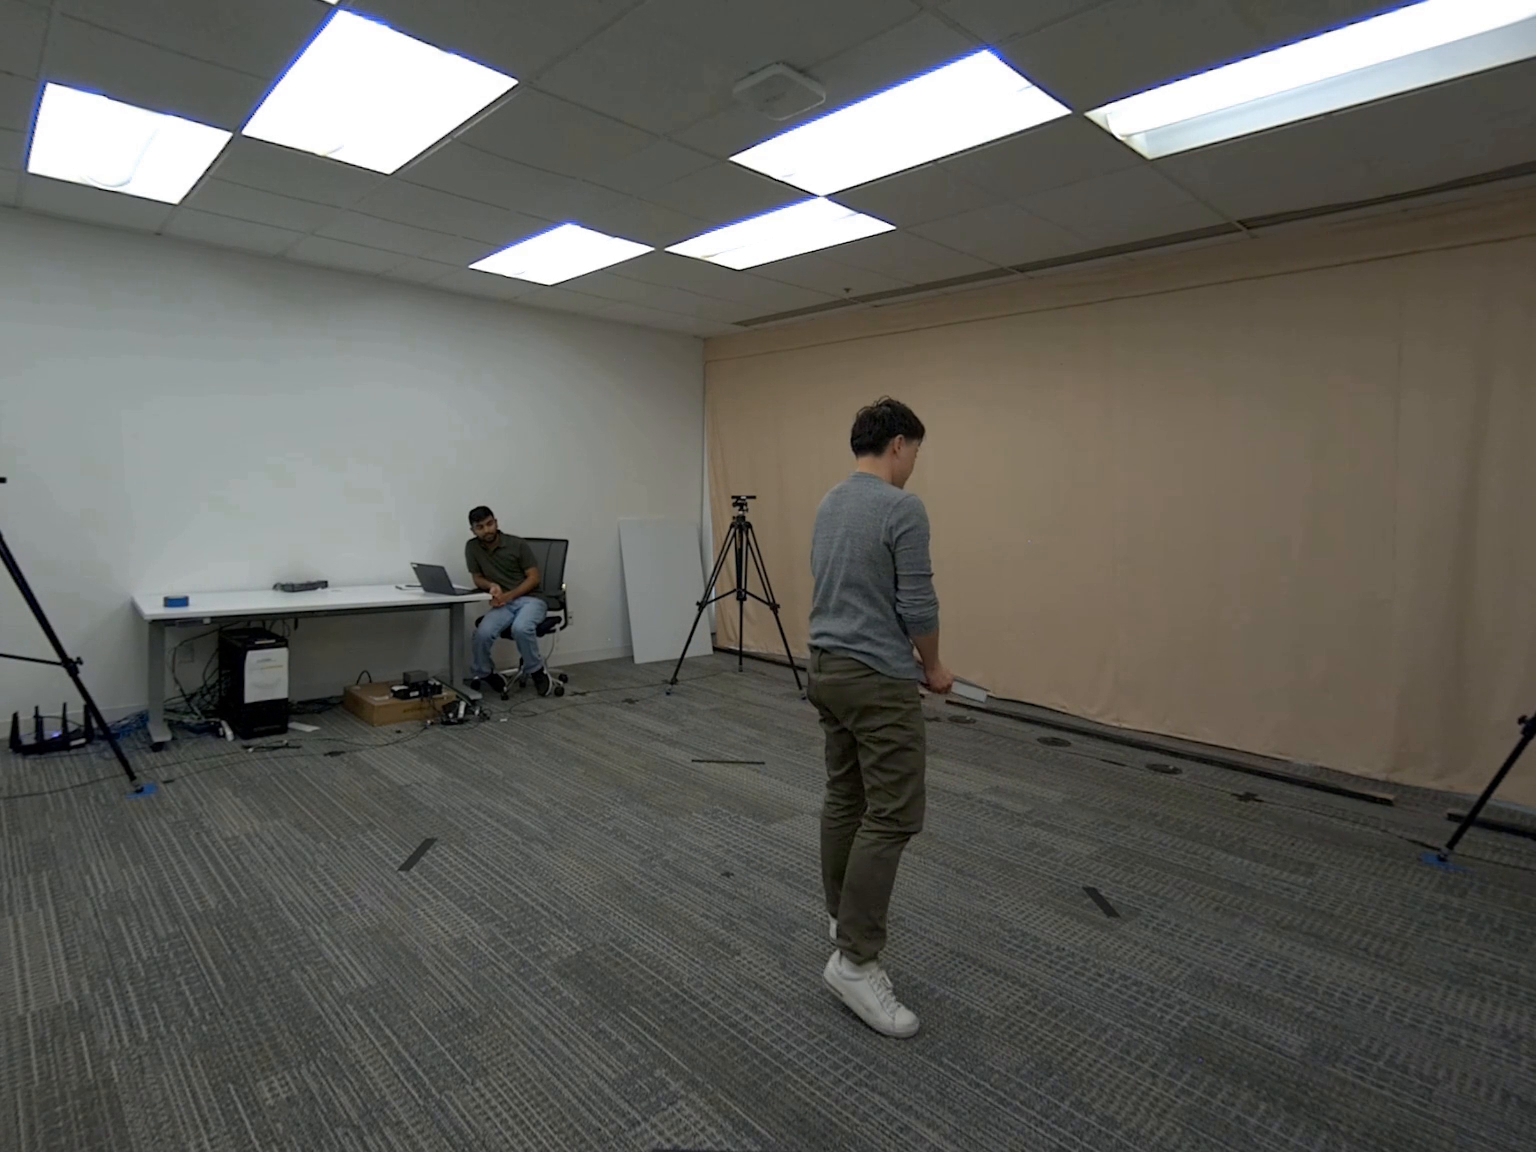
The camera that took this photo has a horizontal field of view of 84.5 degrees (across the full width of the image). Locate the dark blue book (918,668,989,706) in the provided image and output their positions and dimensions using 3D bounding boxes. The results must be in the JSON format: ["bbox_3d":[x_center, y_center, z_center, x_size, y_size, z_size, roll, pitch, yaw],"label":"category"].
[{"bbox_3d":[0.548,0.336,2.652,0.242,0.045,0.165,17,3,-13],"label":"dark blue book"}]
